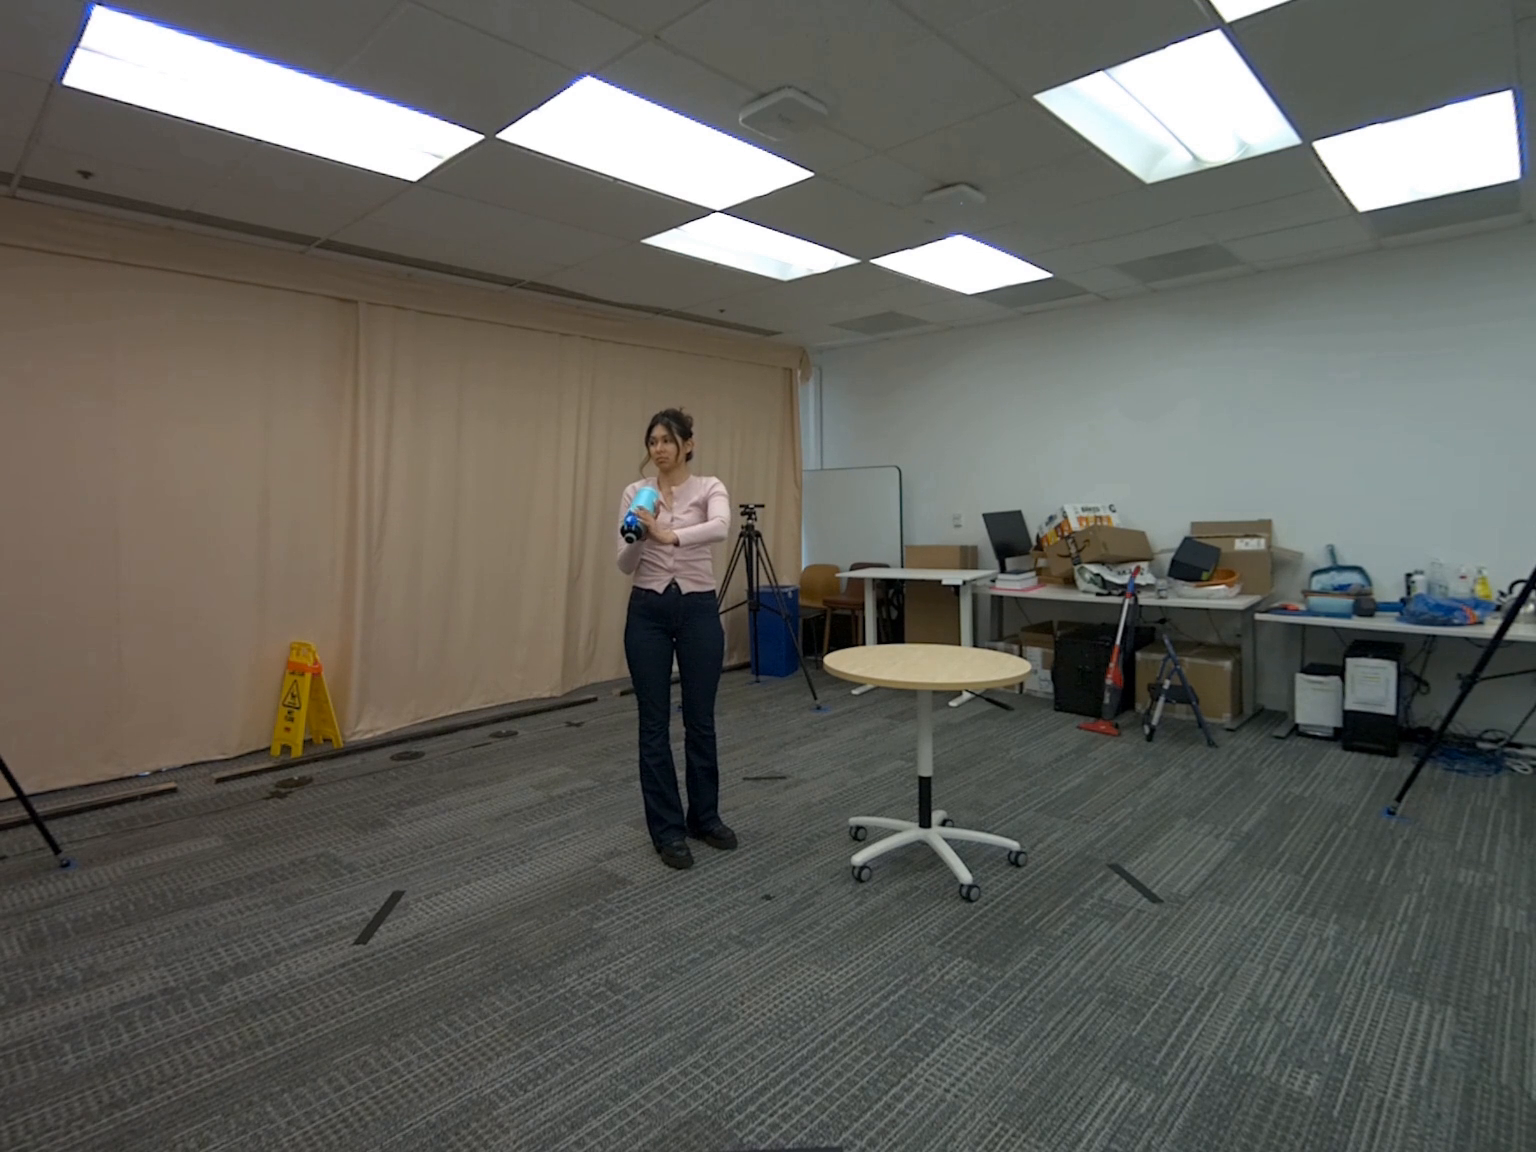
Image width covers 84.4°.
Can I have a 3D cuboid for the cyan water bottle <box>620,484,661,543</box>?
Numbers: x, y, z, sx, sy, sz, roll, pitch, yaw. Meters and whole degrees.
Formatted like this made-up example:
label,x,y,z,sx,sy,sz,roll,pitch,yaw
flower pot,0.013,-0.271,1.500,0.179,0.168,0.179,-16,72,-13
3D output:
label,x,y,z,sx,sy,sz,roll,pitch,yaw
cyan water bottle,-0.459,-0.212,2.993,0.093,0.090,0.286,-1,32,9
